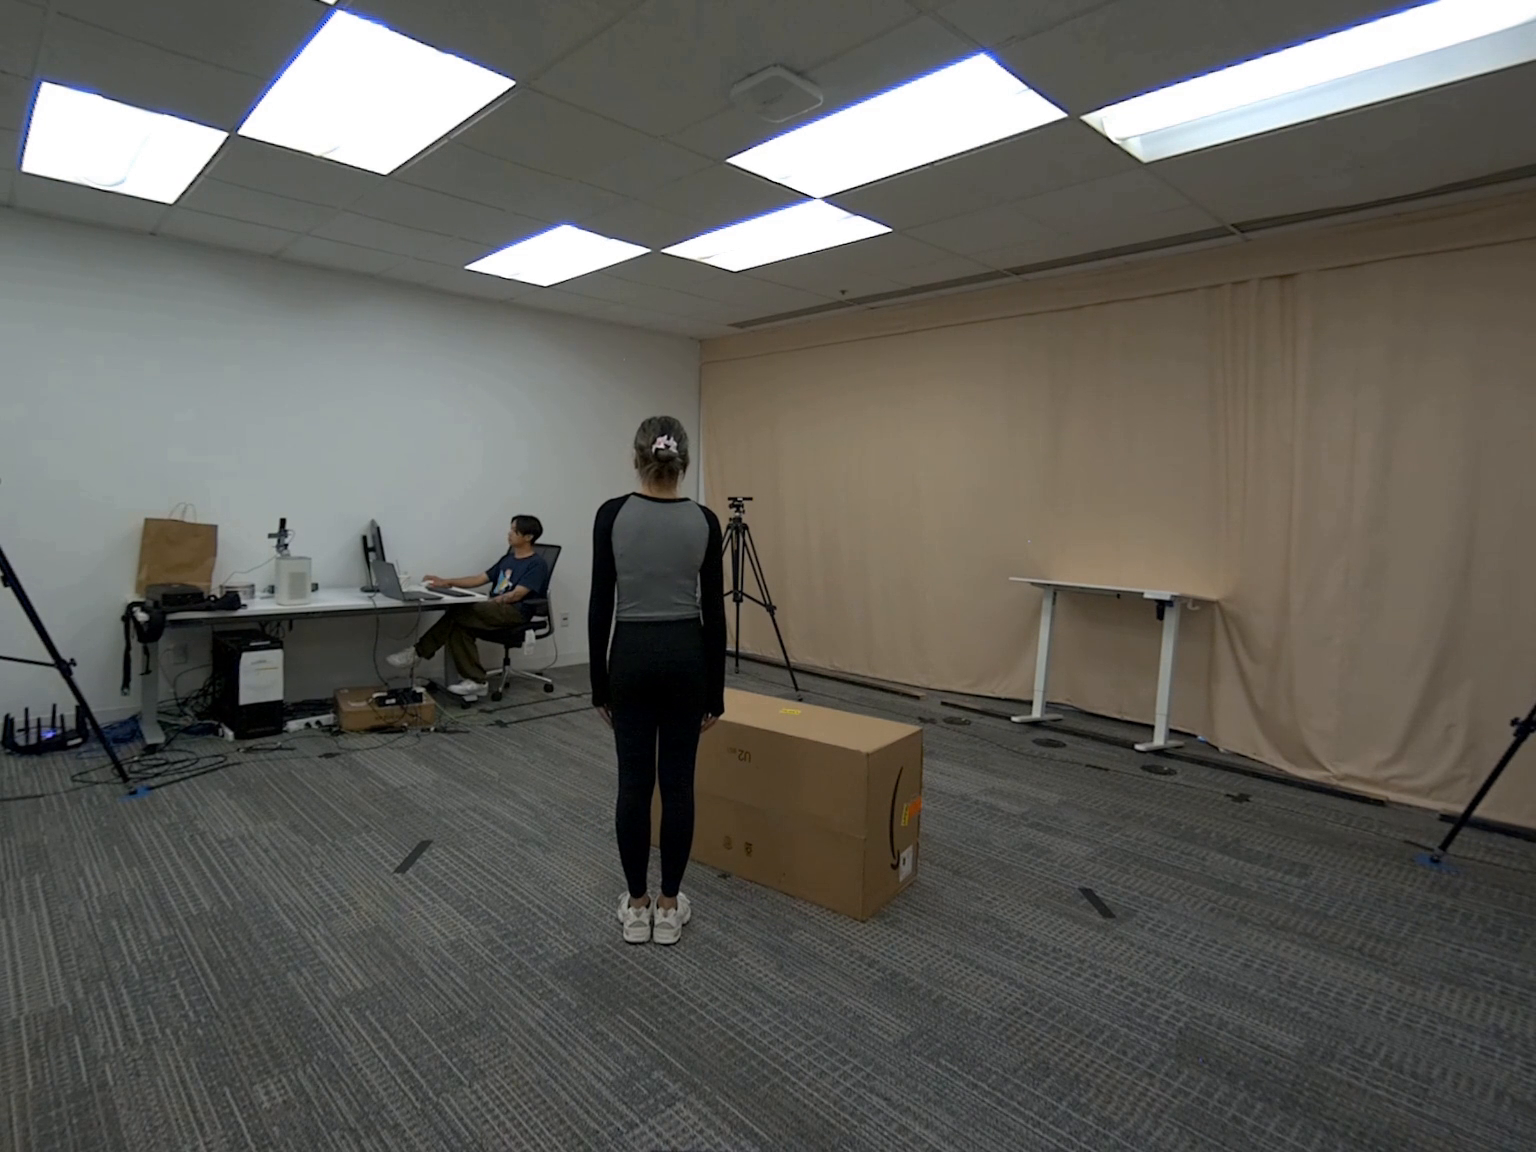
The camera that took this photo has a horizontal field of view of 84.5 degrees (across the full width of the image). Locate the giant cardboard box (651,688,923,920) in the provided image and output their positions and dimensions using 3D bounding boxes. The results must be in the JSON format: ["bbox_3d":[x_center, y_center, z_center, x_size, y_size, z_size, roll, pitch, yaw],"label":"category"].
[{"bbox_3d":[0.022,0.813,3.243,1.051,0.576,0.417,5,6,37],"label":"giant cardboard box"}]
